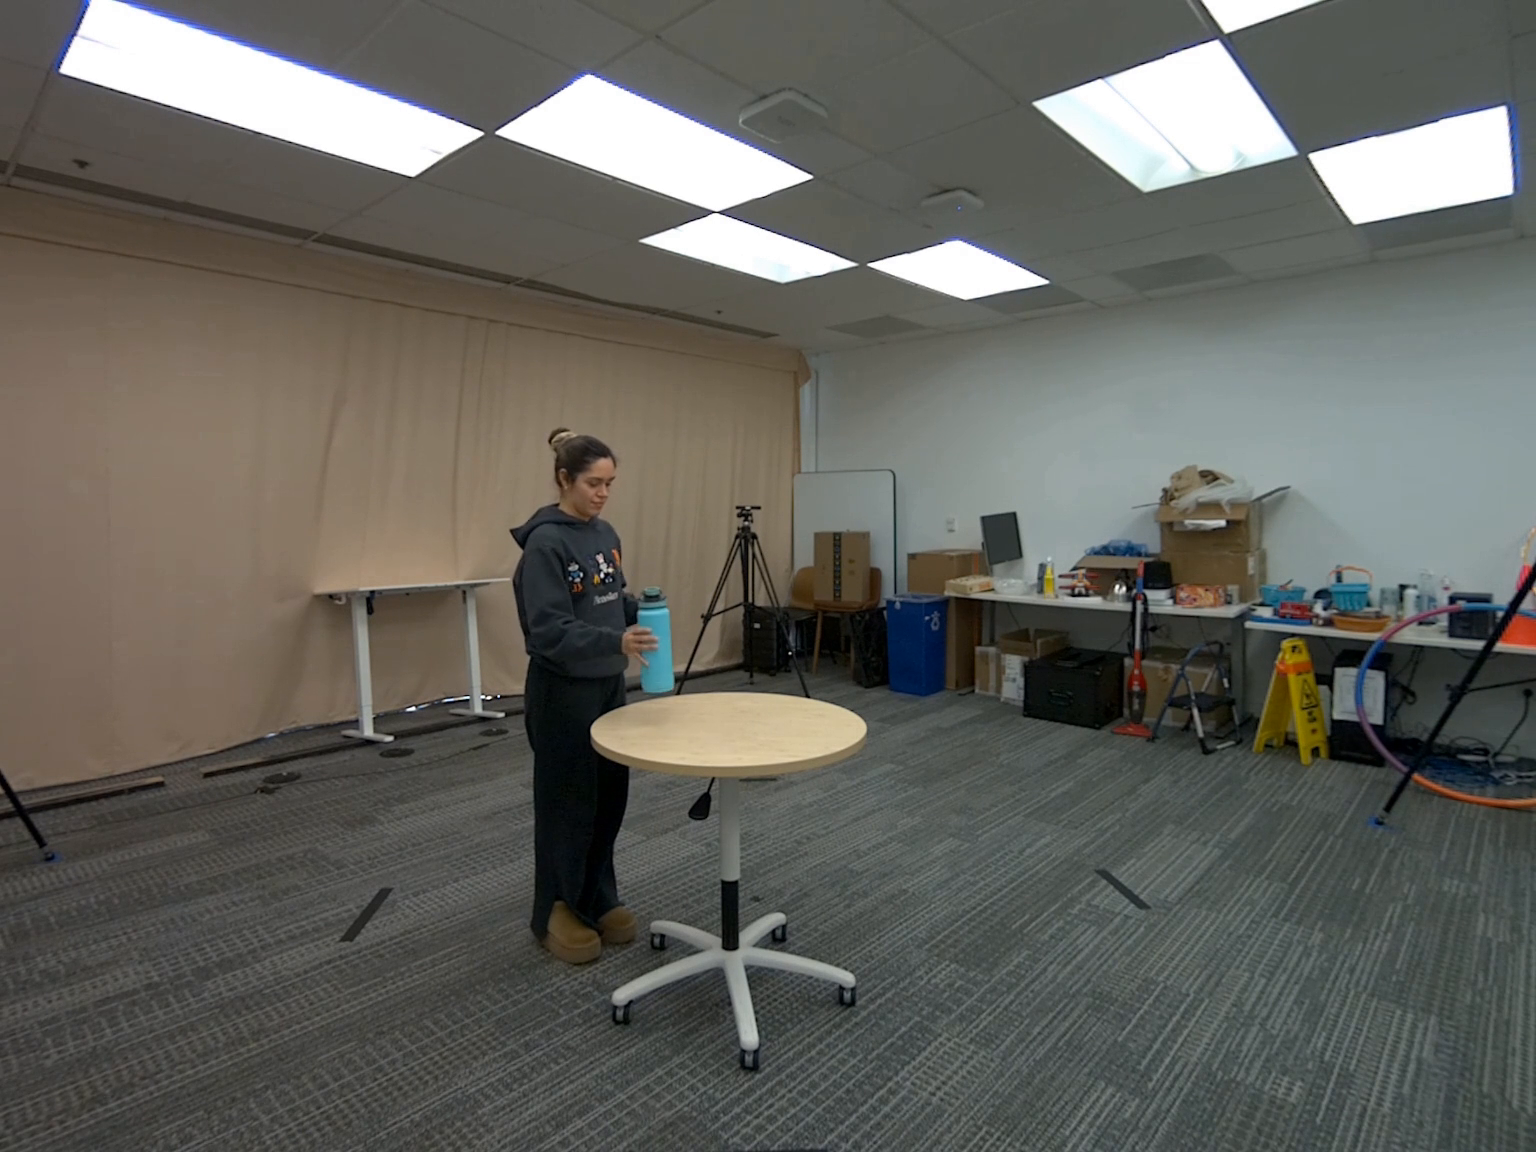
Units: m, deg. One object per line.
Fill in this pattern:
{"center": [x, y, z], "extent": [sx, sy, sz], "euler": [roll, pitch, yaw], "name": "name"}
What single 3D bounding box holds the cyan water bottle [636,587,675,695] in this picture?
{"center": [-0.316, 0.179, 2.326], "extent": [0.092, 0.282, 0.093], "euler": [-5, 4, -1], "name": "cyan water bottle"}
